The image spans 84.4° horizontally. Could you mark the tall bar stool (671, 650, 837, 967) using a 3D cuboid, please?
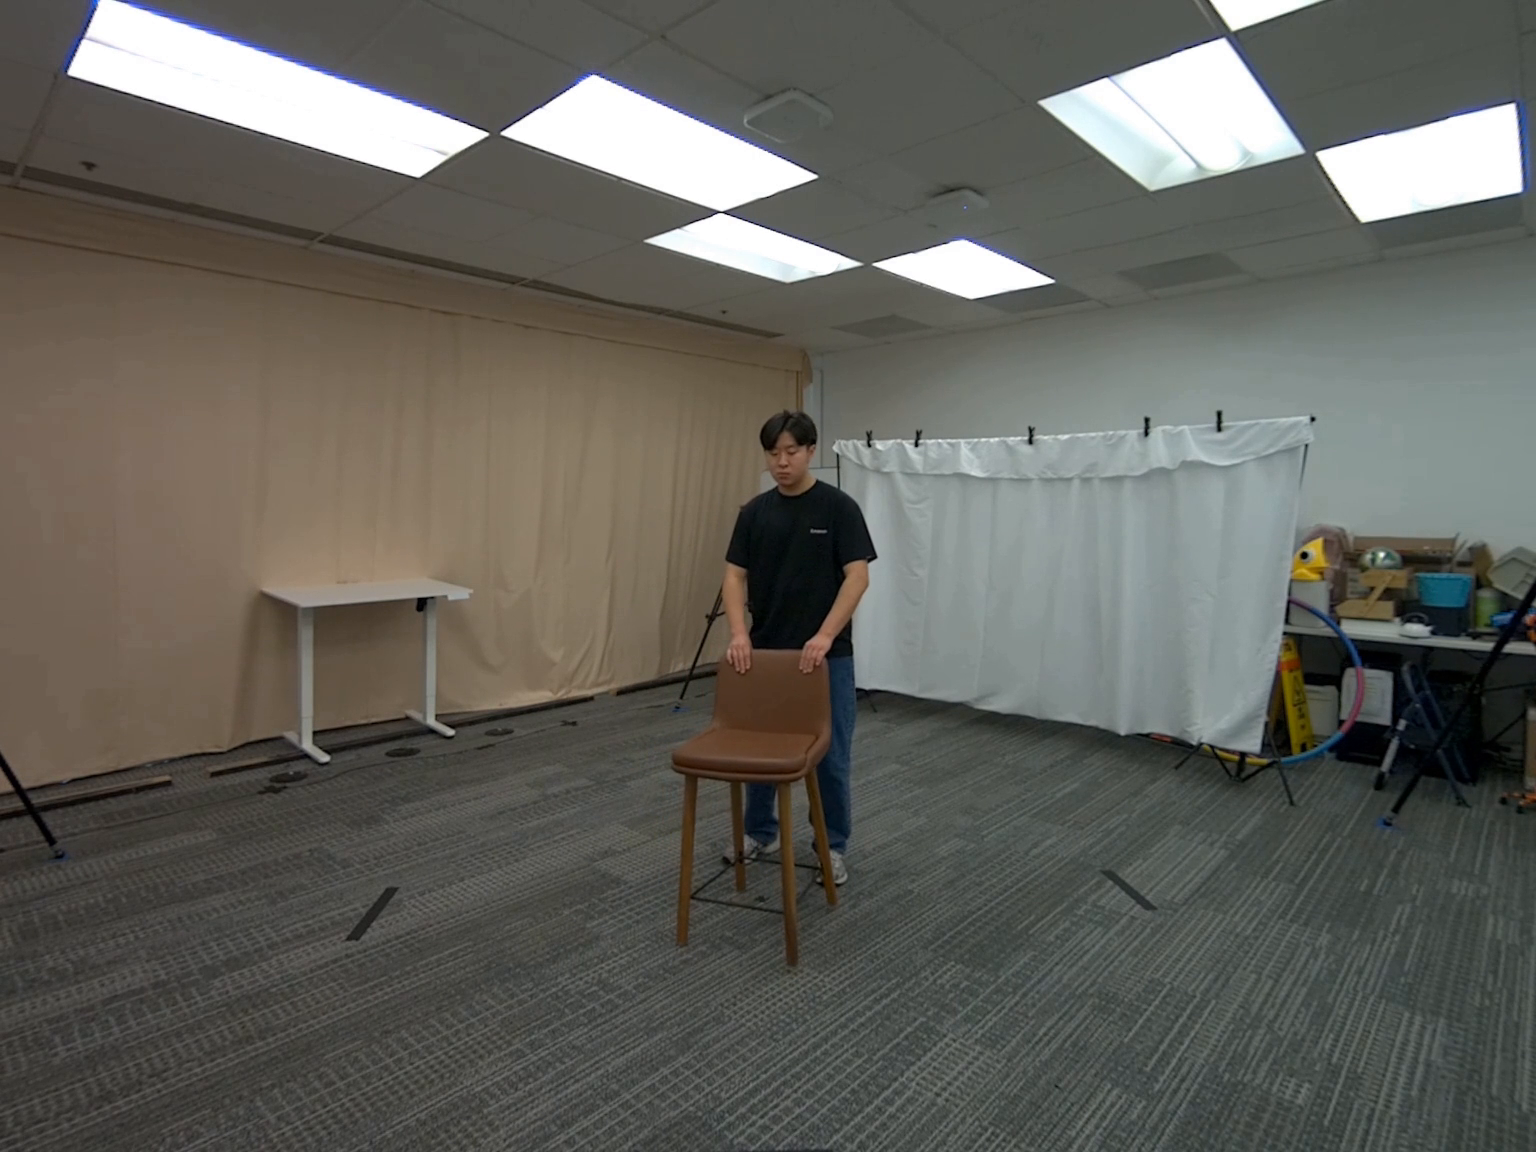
[{"bbox_3d":[-0.037,0.711,2.777,0.468,0.890,0.456,-2,0,26],"label":"tall bar stool"}]
